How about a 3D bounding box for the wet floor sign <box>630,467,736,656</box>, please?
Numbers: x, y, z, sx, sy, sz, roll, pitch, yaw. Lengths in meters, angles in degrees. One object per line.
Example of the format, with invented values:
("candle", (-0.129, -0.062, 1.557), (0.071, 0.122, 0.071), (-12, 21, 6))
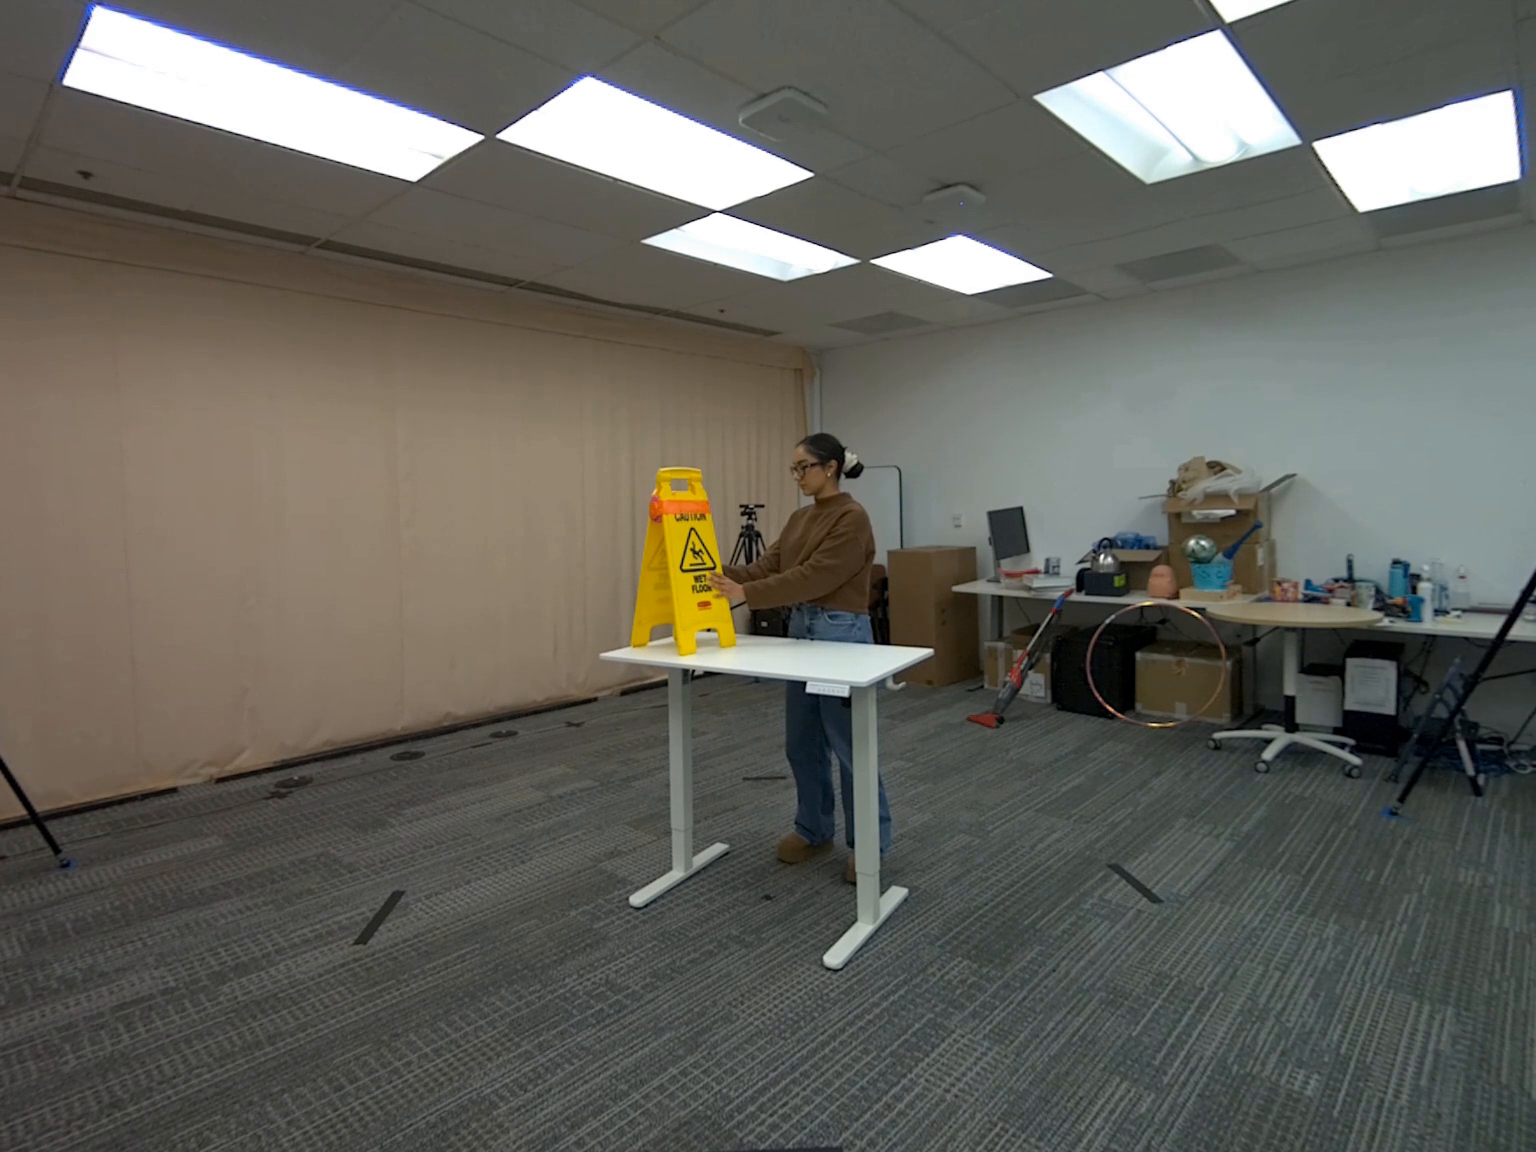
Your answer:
("wet floor sign", (-0.310, -0.063, 3.054), (0.299, 0.645, 0.274), (2, 5, 43))
